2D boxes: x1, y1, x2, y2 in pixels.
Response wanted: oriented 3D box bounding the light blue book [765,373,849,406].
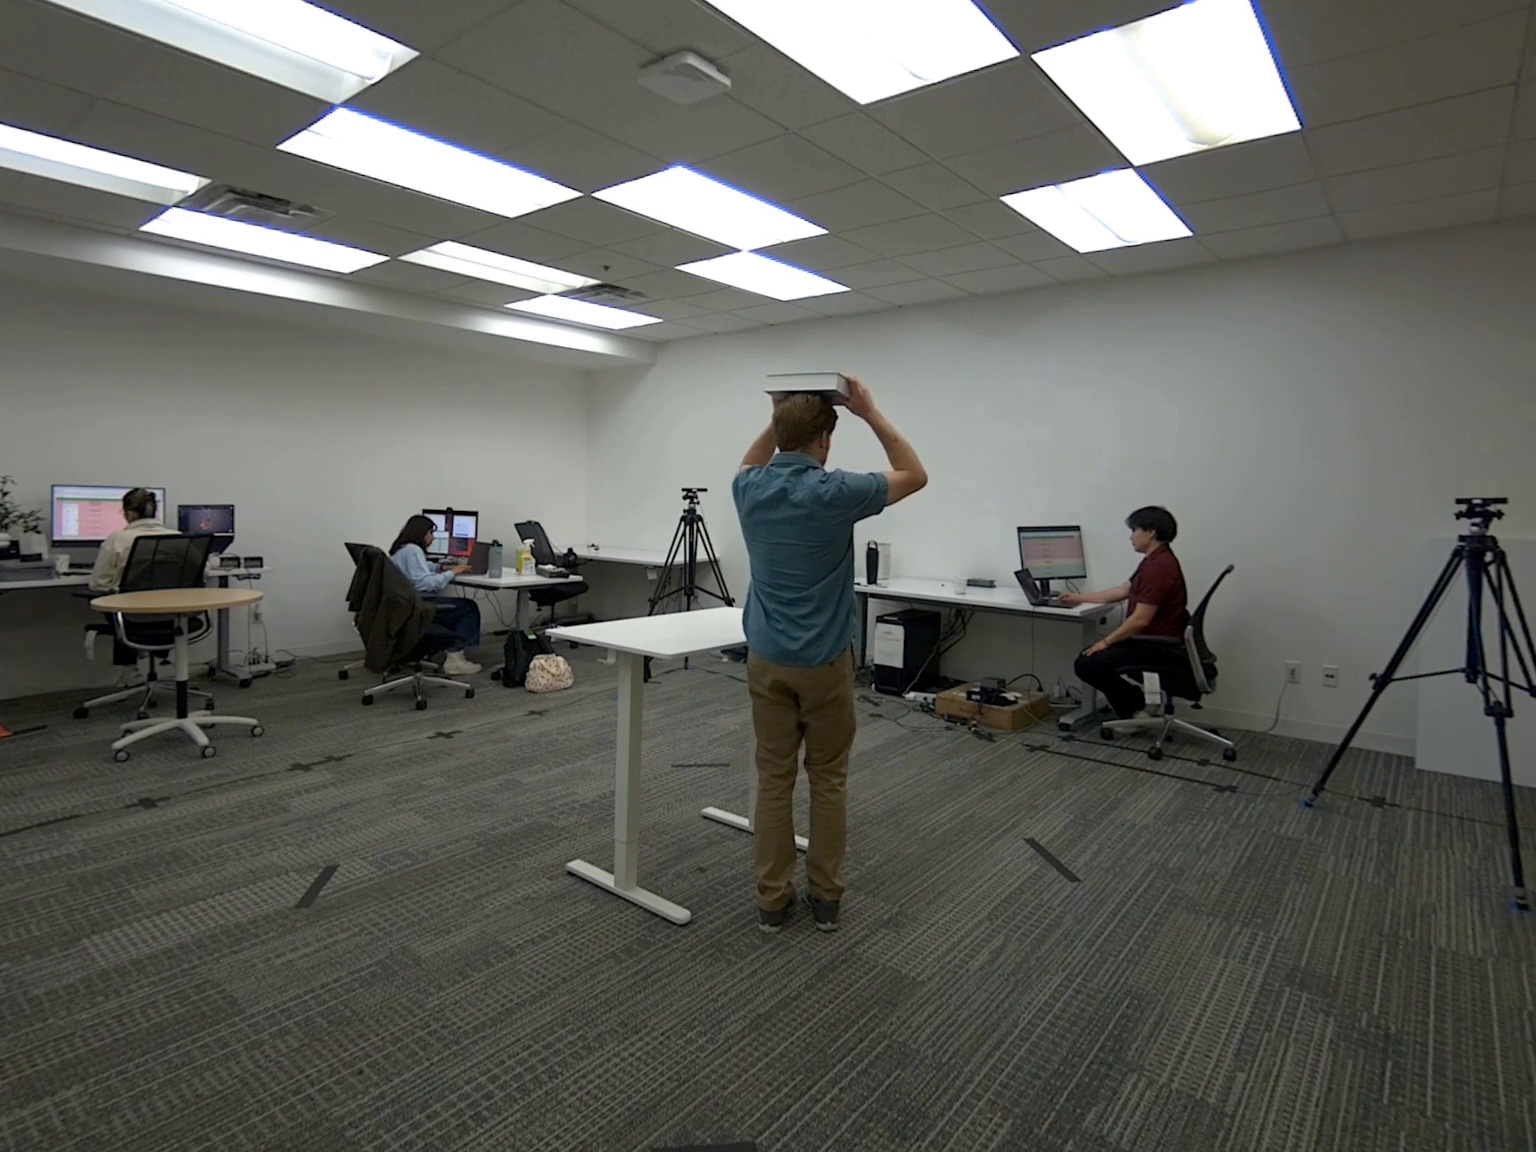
[{"bbox_3d":[0.137,-0.595,2.729,0.269,0.059,0.185,8,-2,32],"label":"light blue book"}]
